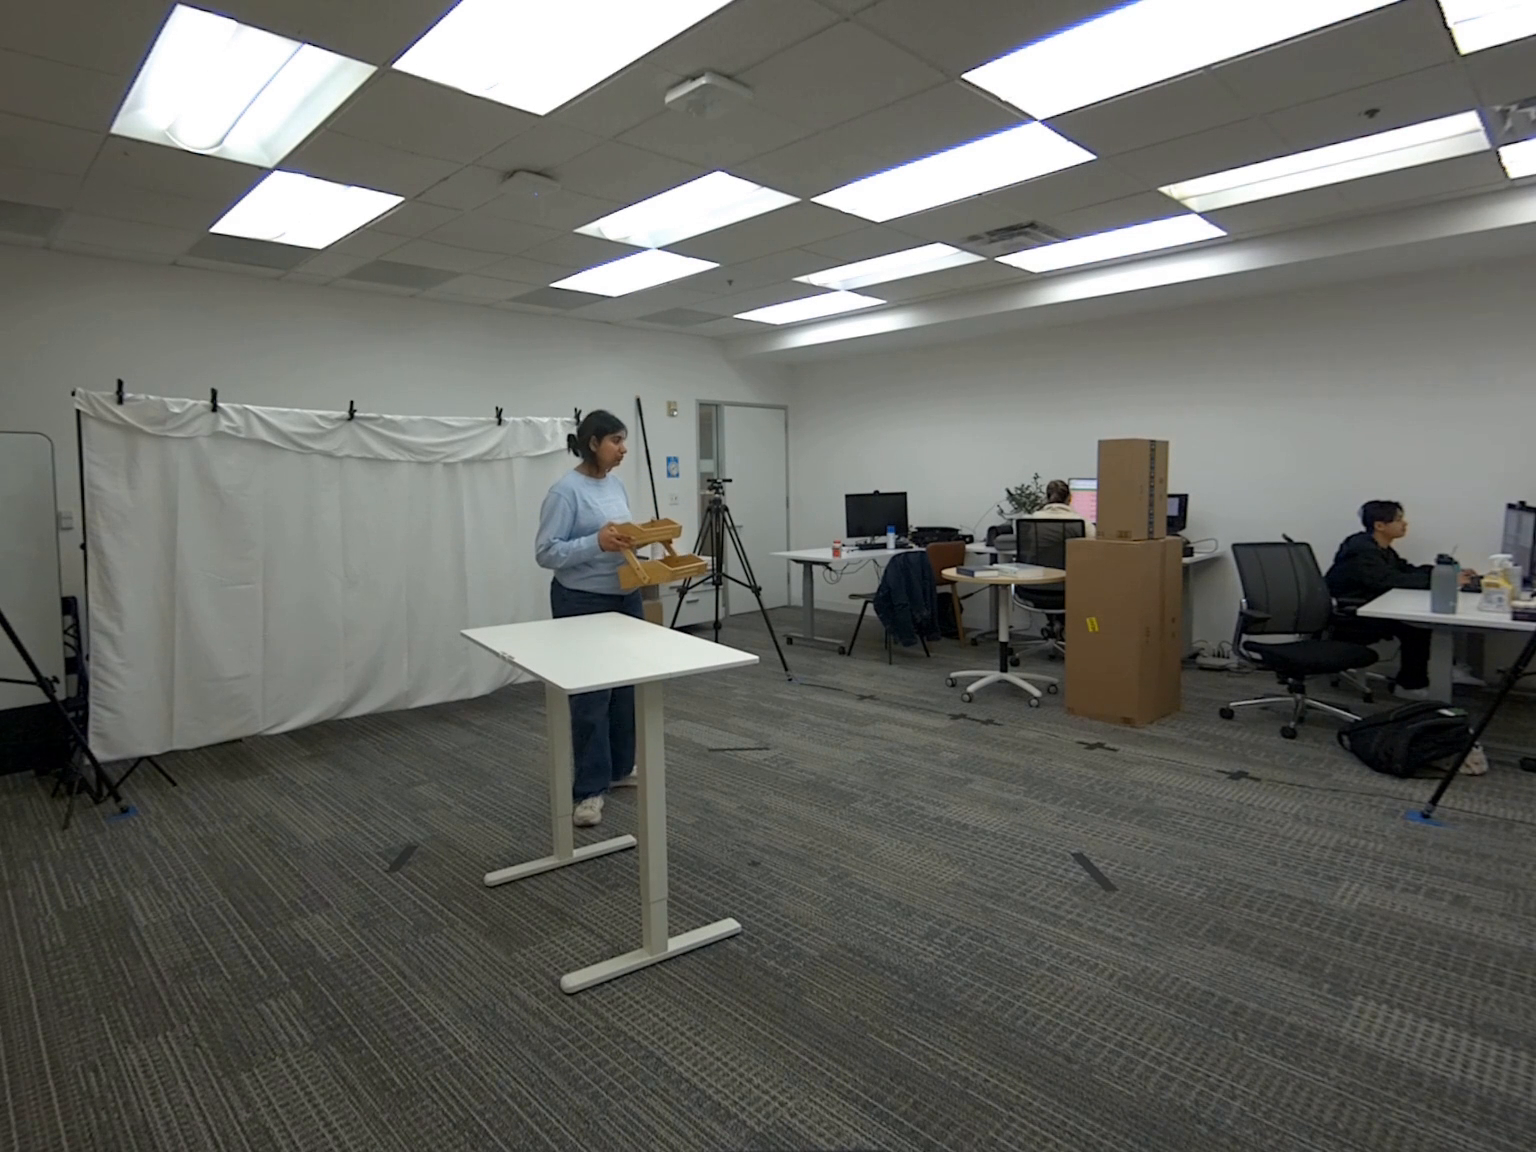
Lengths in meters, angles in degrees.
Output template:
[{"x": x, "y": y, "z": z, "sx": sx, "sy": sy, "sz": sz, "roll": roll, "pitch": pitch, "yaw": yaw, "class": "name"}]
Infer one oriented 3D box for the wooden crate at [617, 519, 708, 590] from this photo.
[{"x": -0.467, "y": -0.106, "z": 3.529, "sx": 0.308, "sy": 0.273, "sz": 0.318, "roll": -10, "pitch": 1, "yaw": 26, "class": "wooden crate"}]
